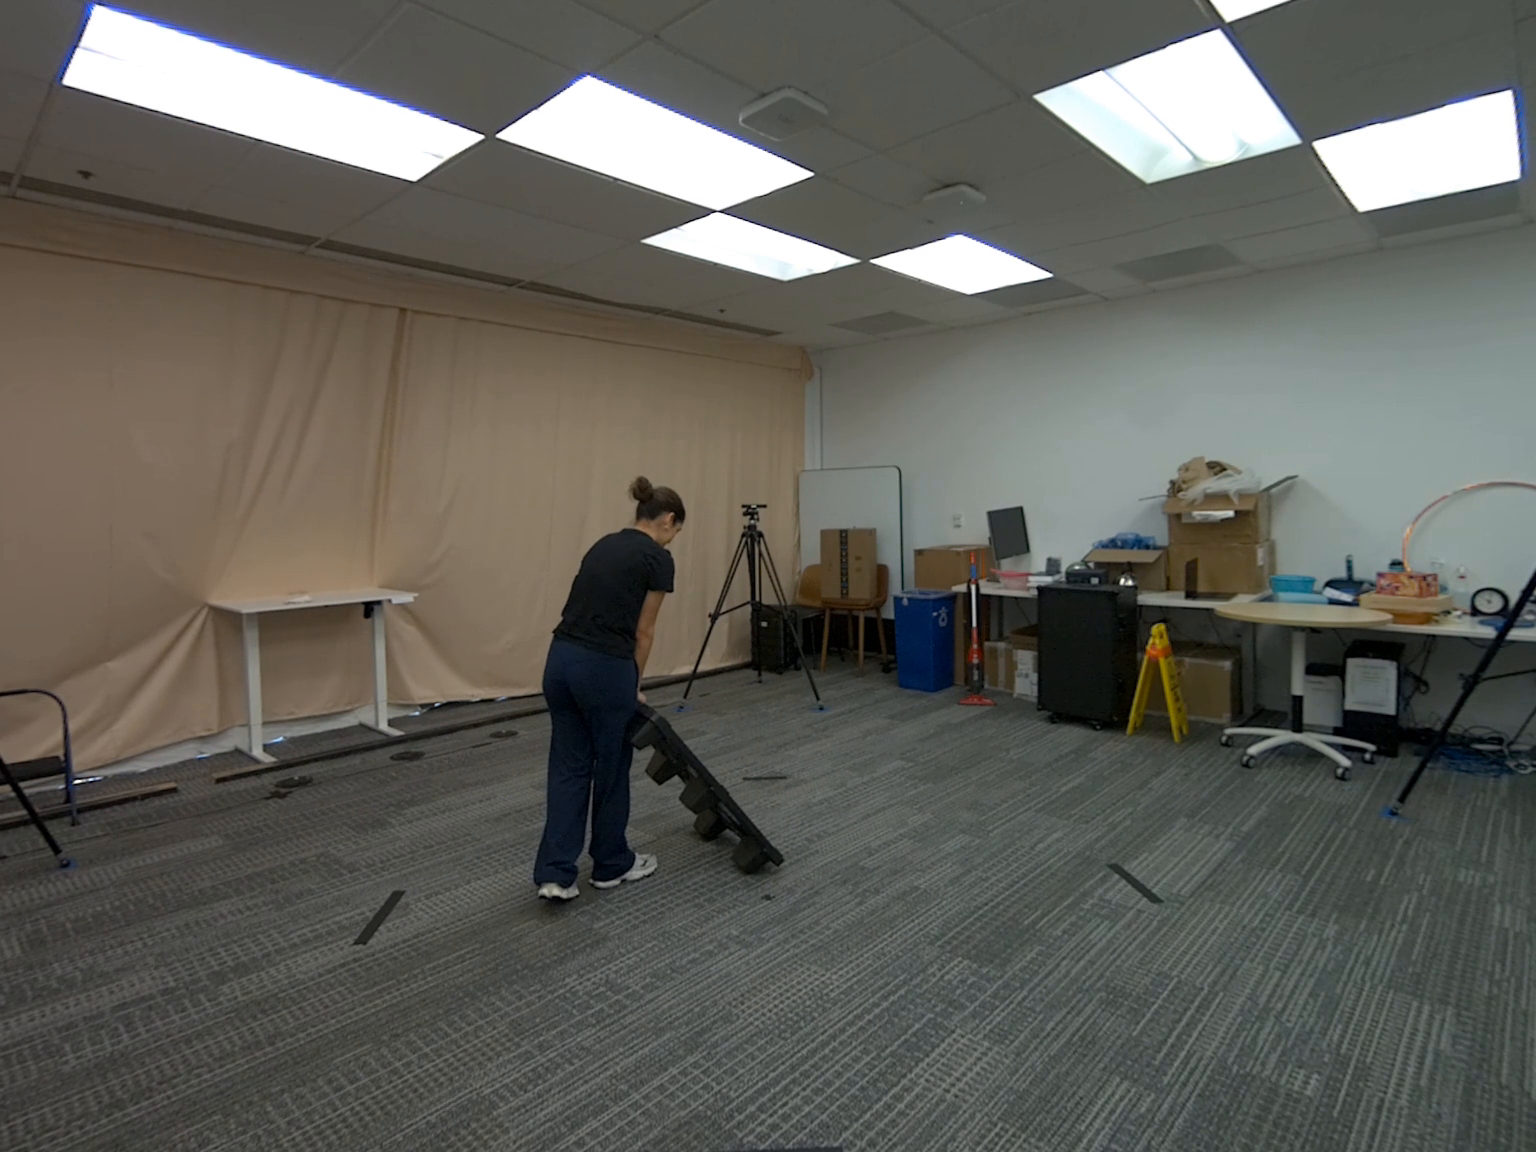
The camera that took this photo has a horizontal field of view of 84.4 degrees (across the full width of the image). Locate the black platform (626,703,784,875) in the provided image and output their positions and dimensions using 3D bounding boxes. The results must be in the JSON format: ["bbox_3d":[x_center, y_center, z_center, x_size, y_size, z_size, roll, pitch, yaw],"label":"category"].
[{"bbox_3d":[-0.326,0.795,3.283,0.142,0.790,0.621,-42,19,-19],"label":"black platform"}]
